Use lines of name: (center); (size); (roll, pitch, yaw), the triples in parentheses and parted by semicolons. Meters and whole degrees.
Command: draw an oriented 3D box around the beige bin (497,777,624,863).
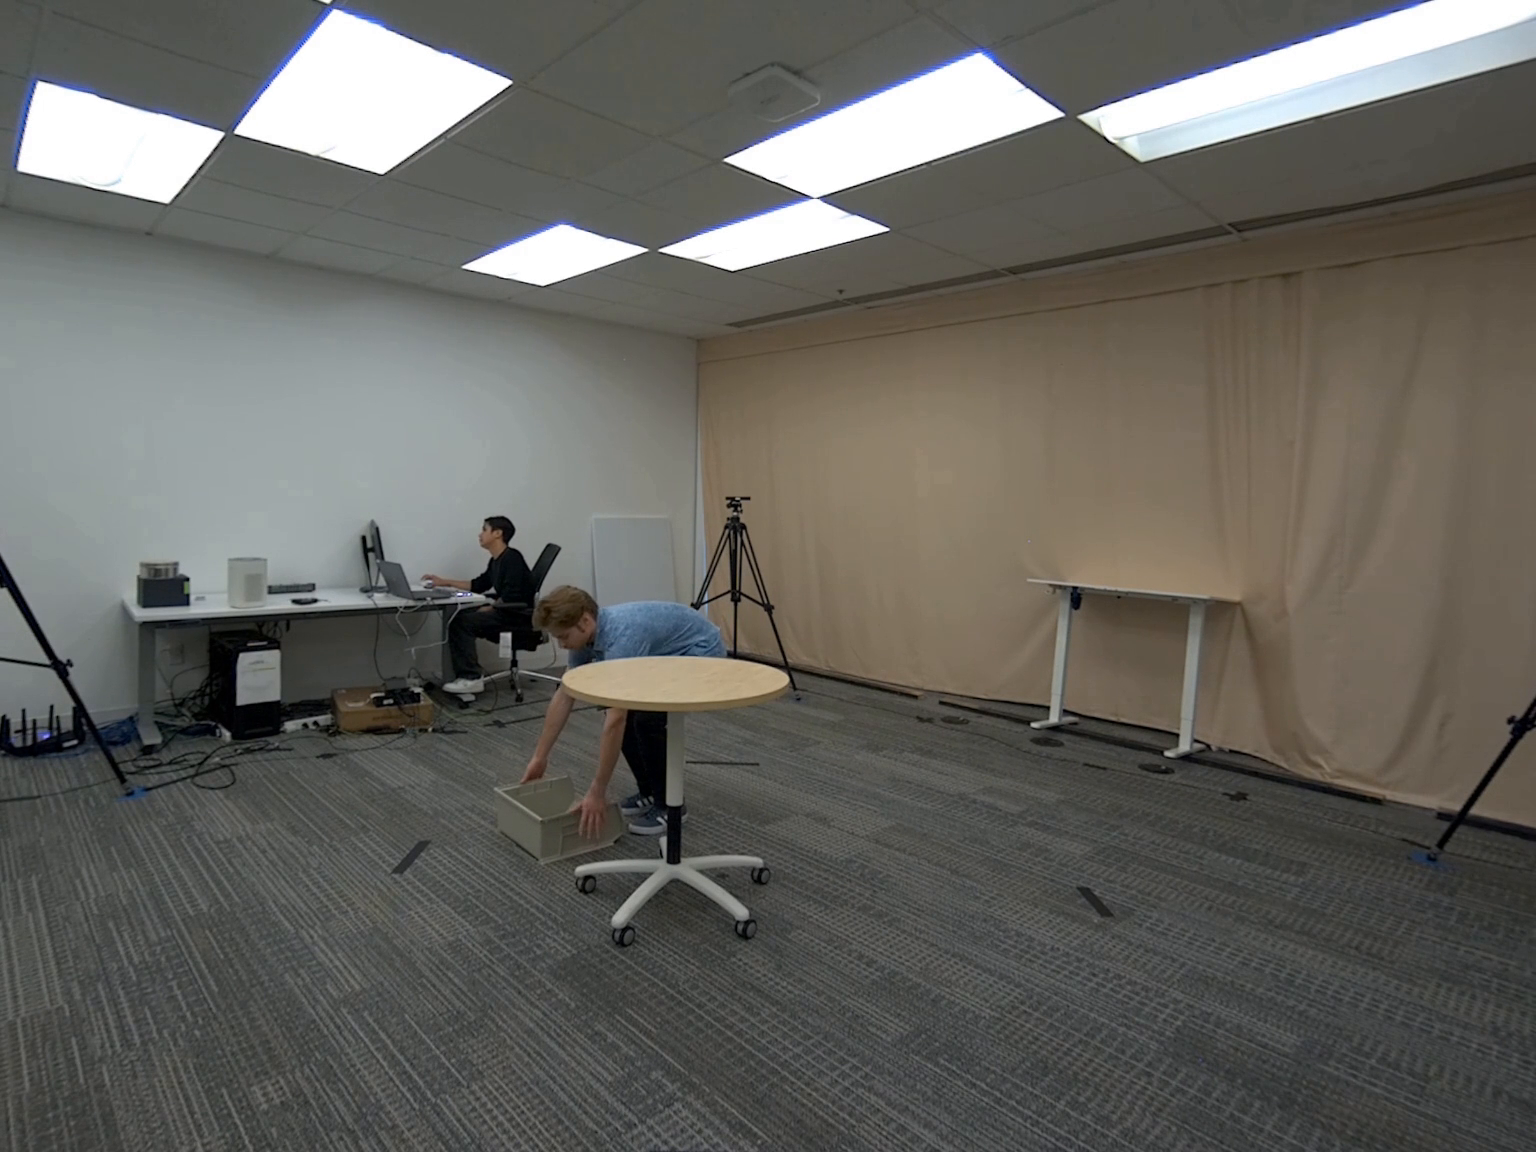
beige bin: (-0.858, 0.975, 3.420); (0.369, 0.188, 0.433); (-4, 8, -40)
